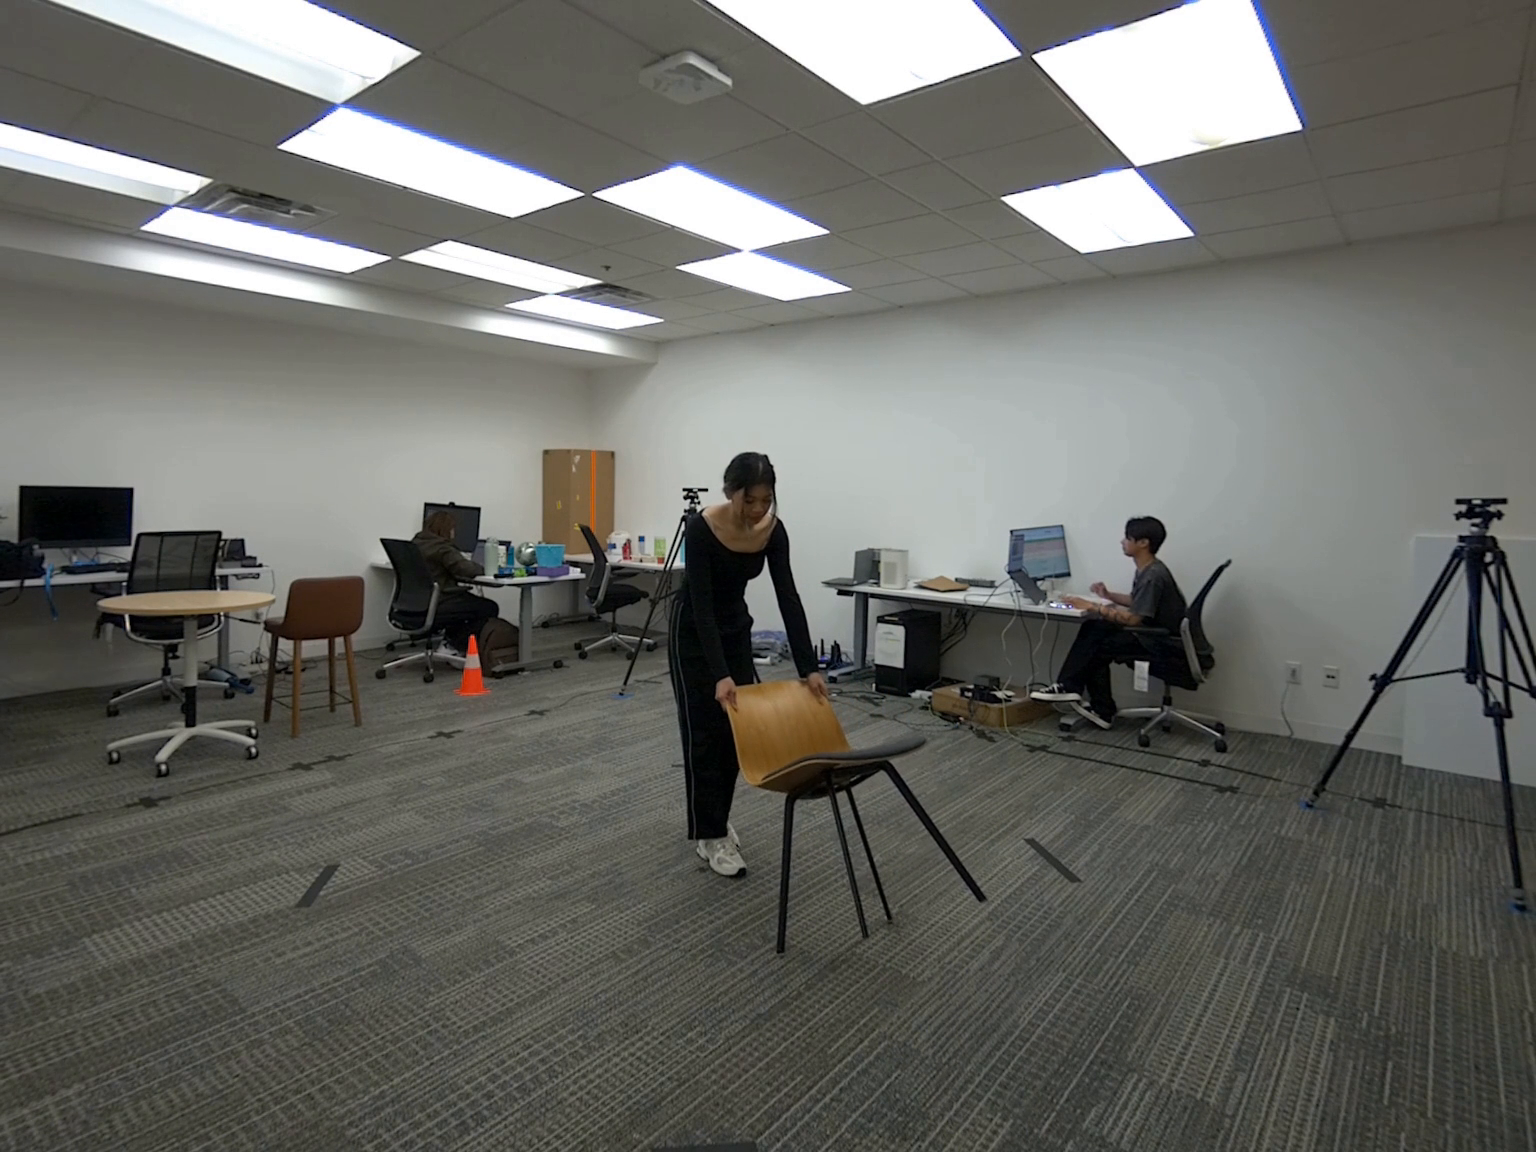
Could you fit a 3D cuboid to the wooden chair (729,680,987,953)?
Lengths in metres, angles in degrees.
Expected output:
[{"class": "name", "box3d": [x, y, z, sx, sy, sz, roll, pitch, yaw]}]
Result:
[{"class": "wooden chair", "box3d": [0.210, 0.636, 2.648, 0.465, 0.903, 0.522, -1, -31, -32]}]
